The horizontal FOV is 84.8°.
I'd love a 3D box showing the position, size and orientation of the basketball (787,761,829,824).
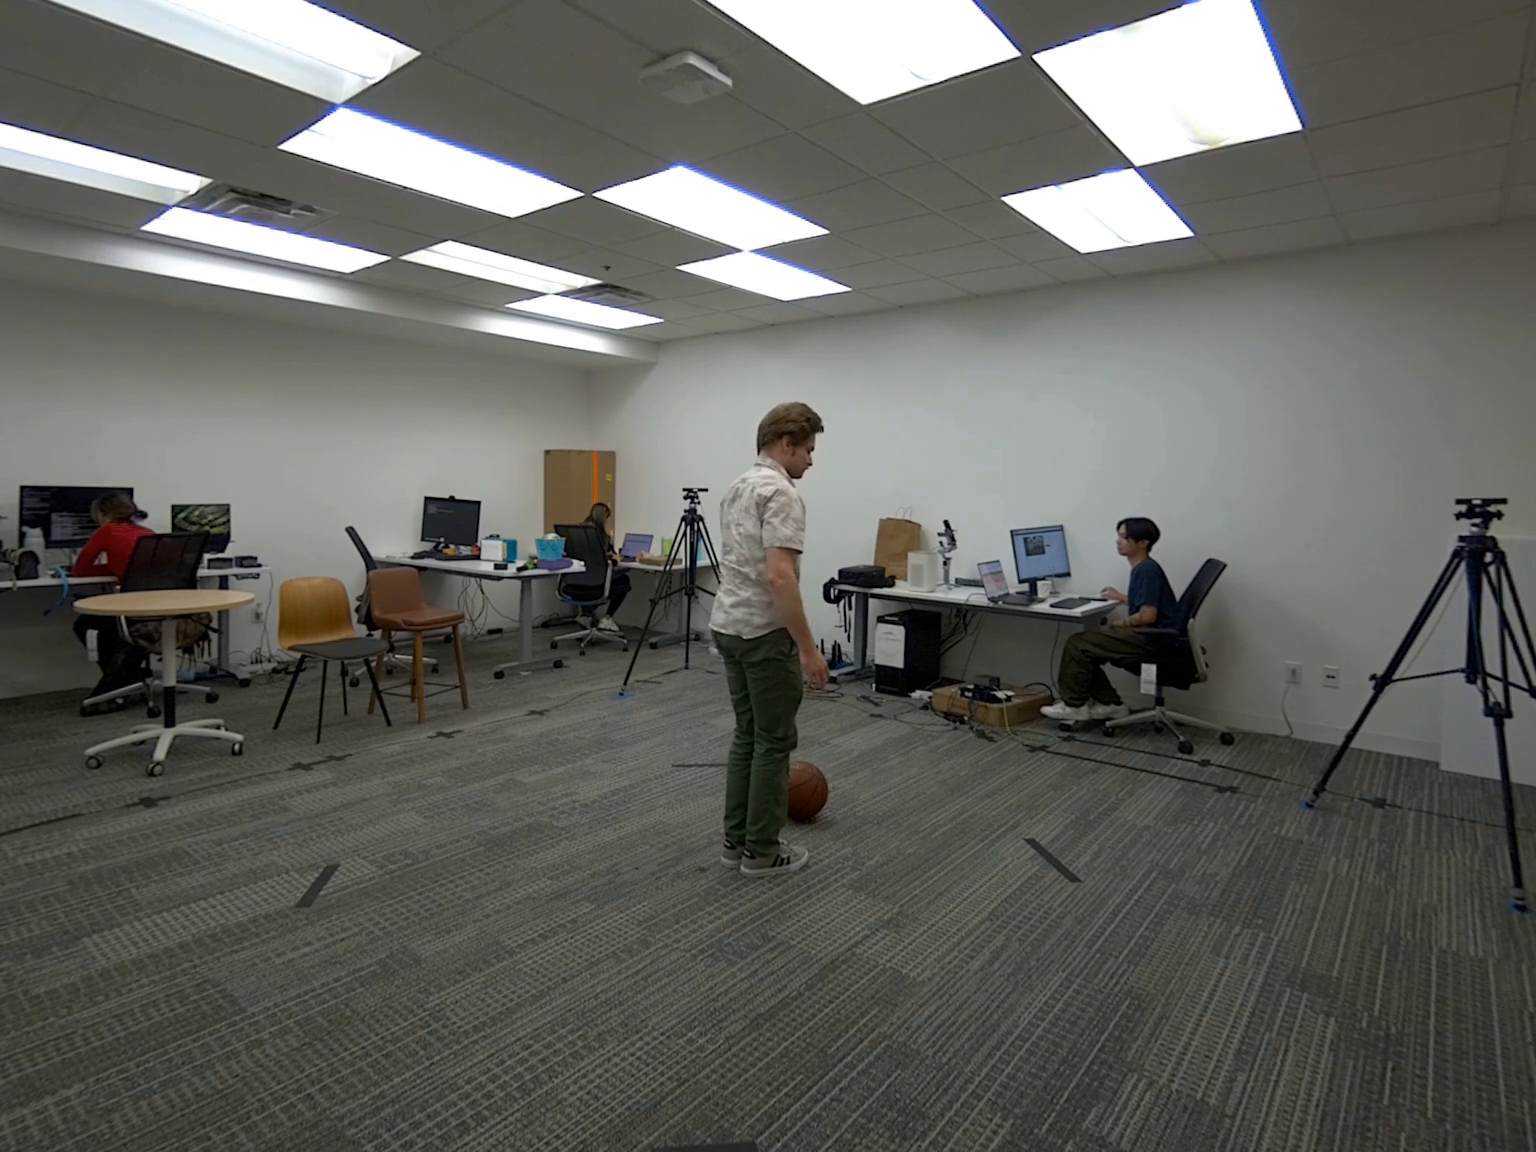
[{"bbox_3d":[0.125,0.904,3.626,0.235,0.235,0.237,1,4,-2],"label":"basketball"}]
